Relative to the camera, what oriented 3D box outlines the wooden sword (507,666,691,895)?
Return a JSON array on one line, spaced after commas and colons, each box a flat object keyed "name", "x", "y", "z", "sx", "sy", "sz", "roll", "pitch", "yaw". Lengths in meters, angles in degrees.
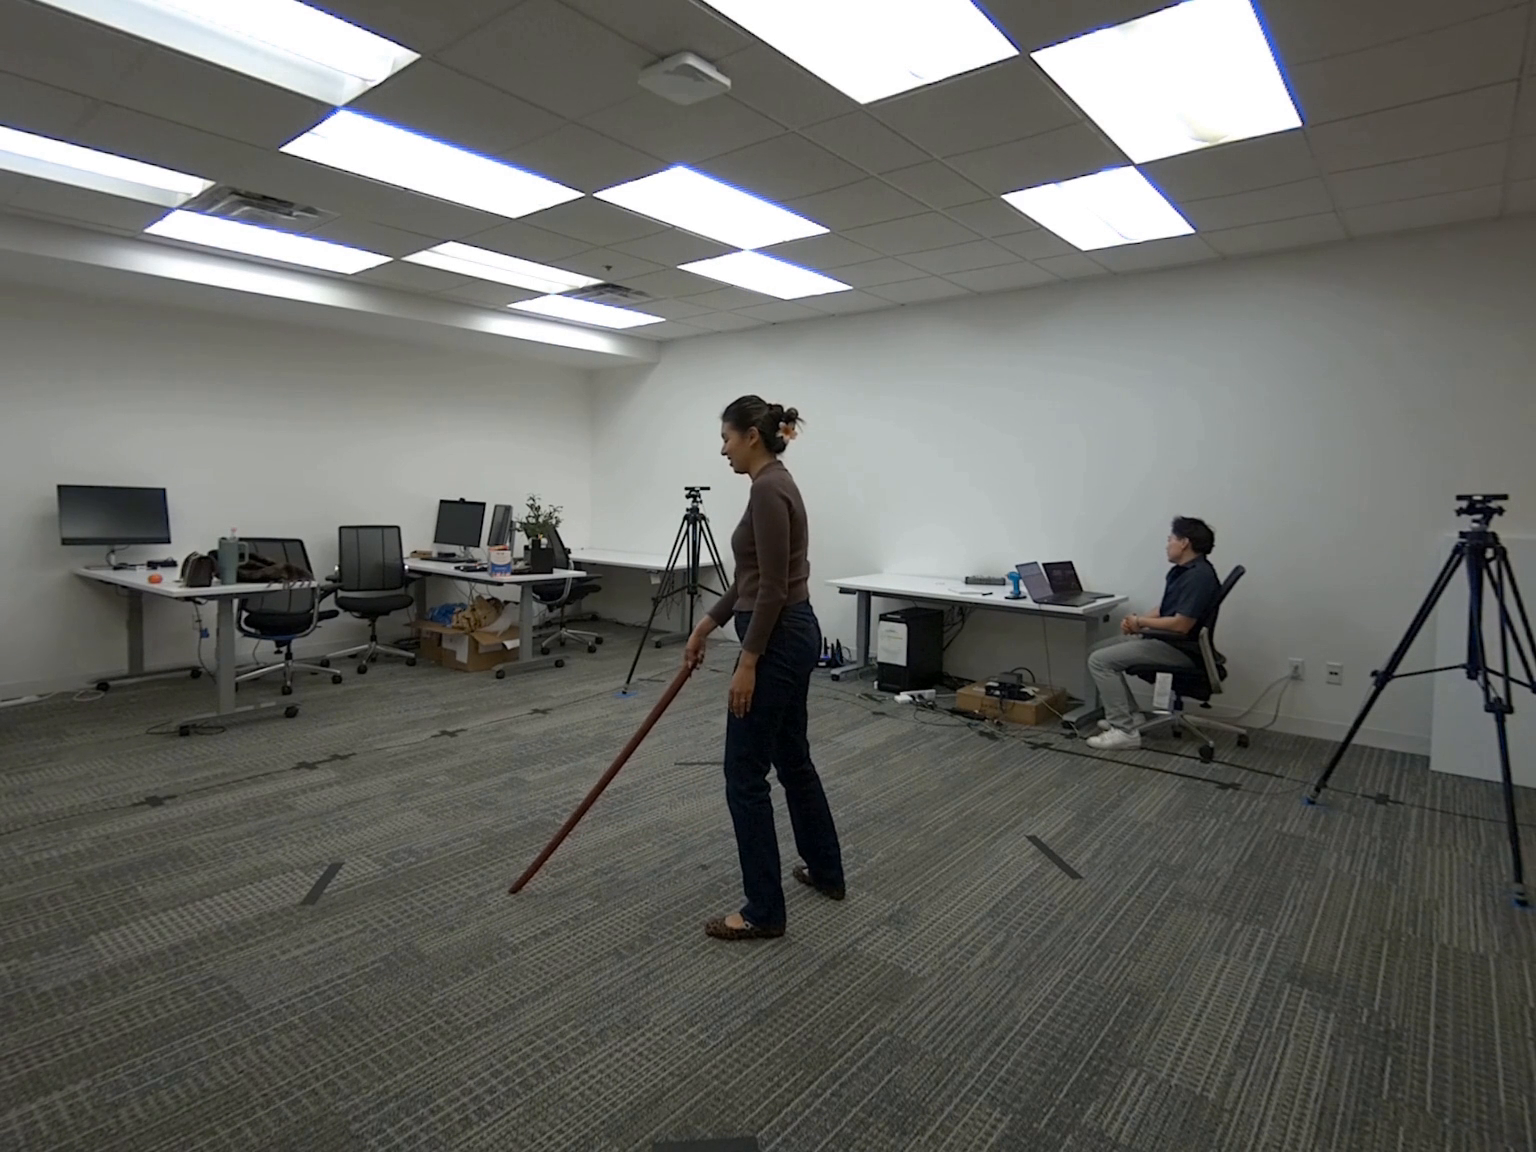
[{"name": "wooden sword", "x": -0.579, "y": 0.693, "z": 2.904, "sx": 0.053, "sy": 1.025, "sz": 0.023, "roll": 35, "pitch": -4, "yaw": 38}]
